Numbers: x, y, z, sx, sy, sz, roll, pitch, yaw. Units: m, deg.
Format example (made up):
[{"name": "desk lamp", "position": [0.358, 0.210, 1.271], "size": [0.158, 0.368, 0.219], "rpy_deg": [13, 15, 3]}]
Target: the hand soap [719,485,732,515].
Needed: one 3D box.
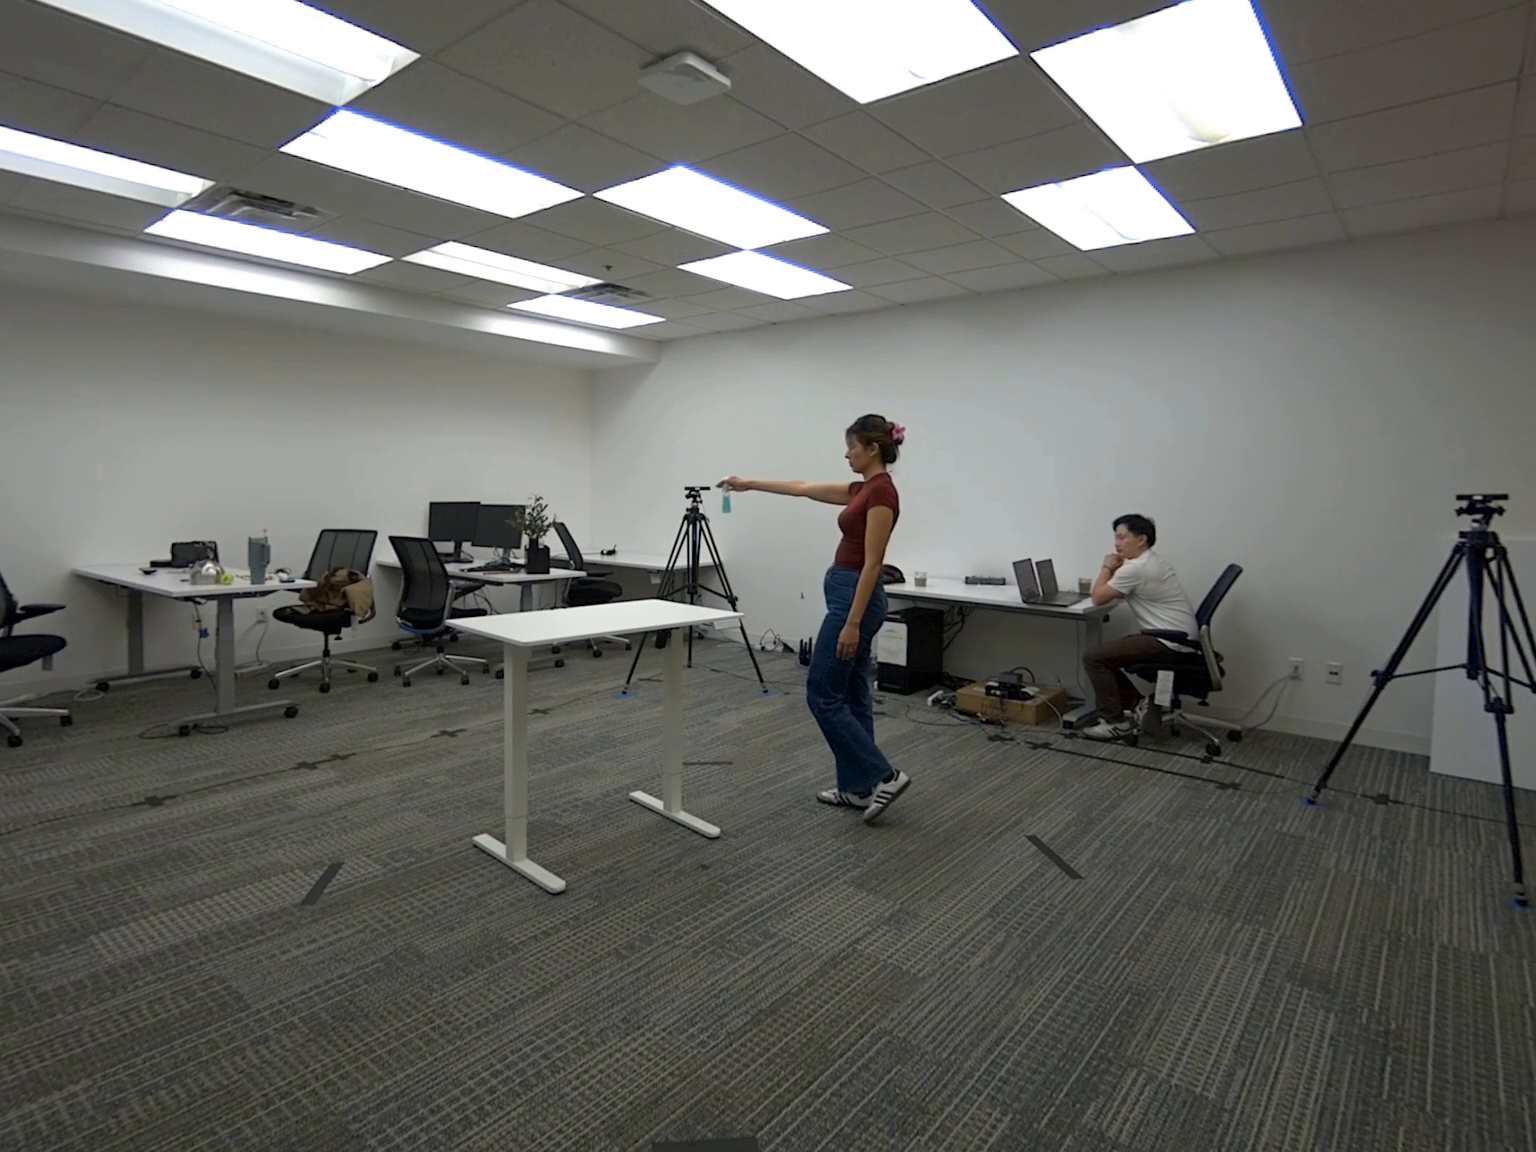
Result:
[{"name": "hand soap", "position": [-0.203, -0.389, 4.049], "size": [0.043, 0.166, 0.086], "rpy_deg": [1, 10, -5]}]
